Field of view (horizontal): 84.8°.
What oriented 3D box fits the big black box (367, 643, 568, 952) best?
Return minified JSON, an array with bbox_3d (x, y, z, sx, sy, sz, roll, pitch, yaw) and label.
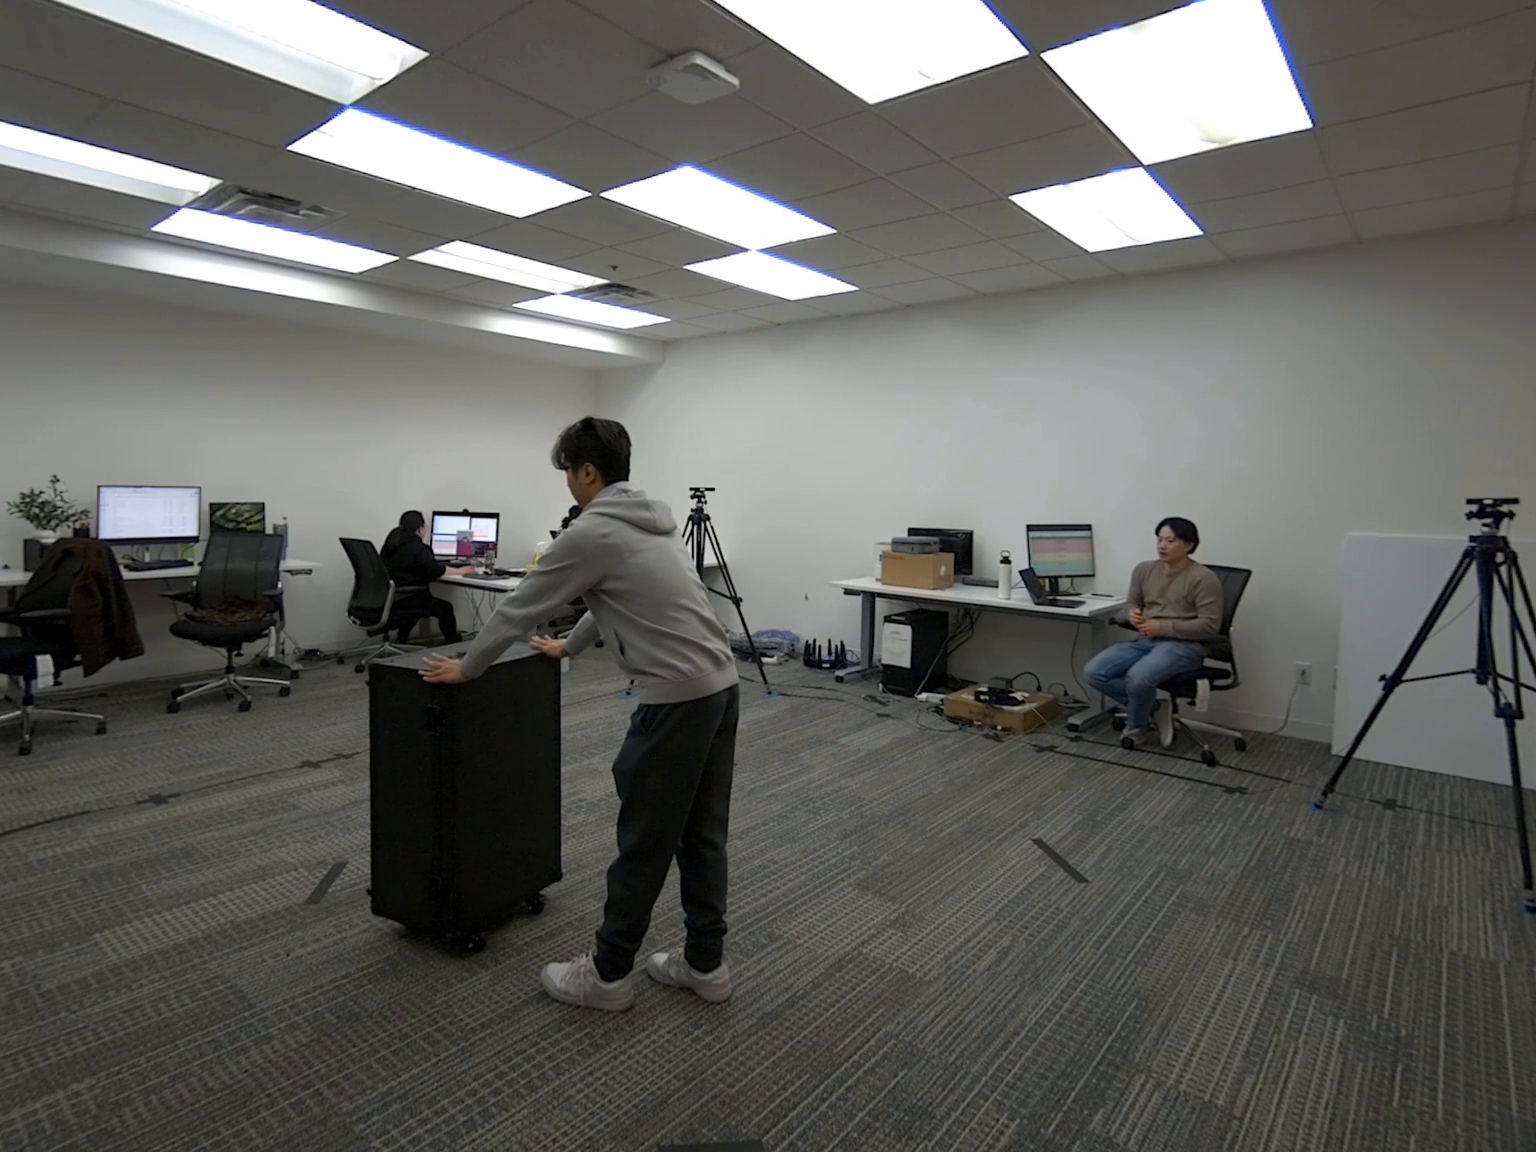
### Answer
[{"bbox_3d":[-0.973,0.667,2.714,0.407,0.860,0.508,0,3,28],"label":"big black box"}]
